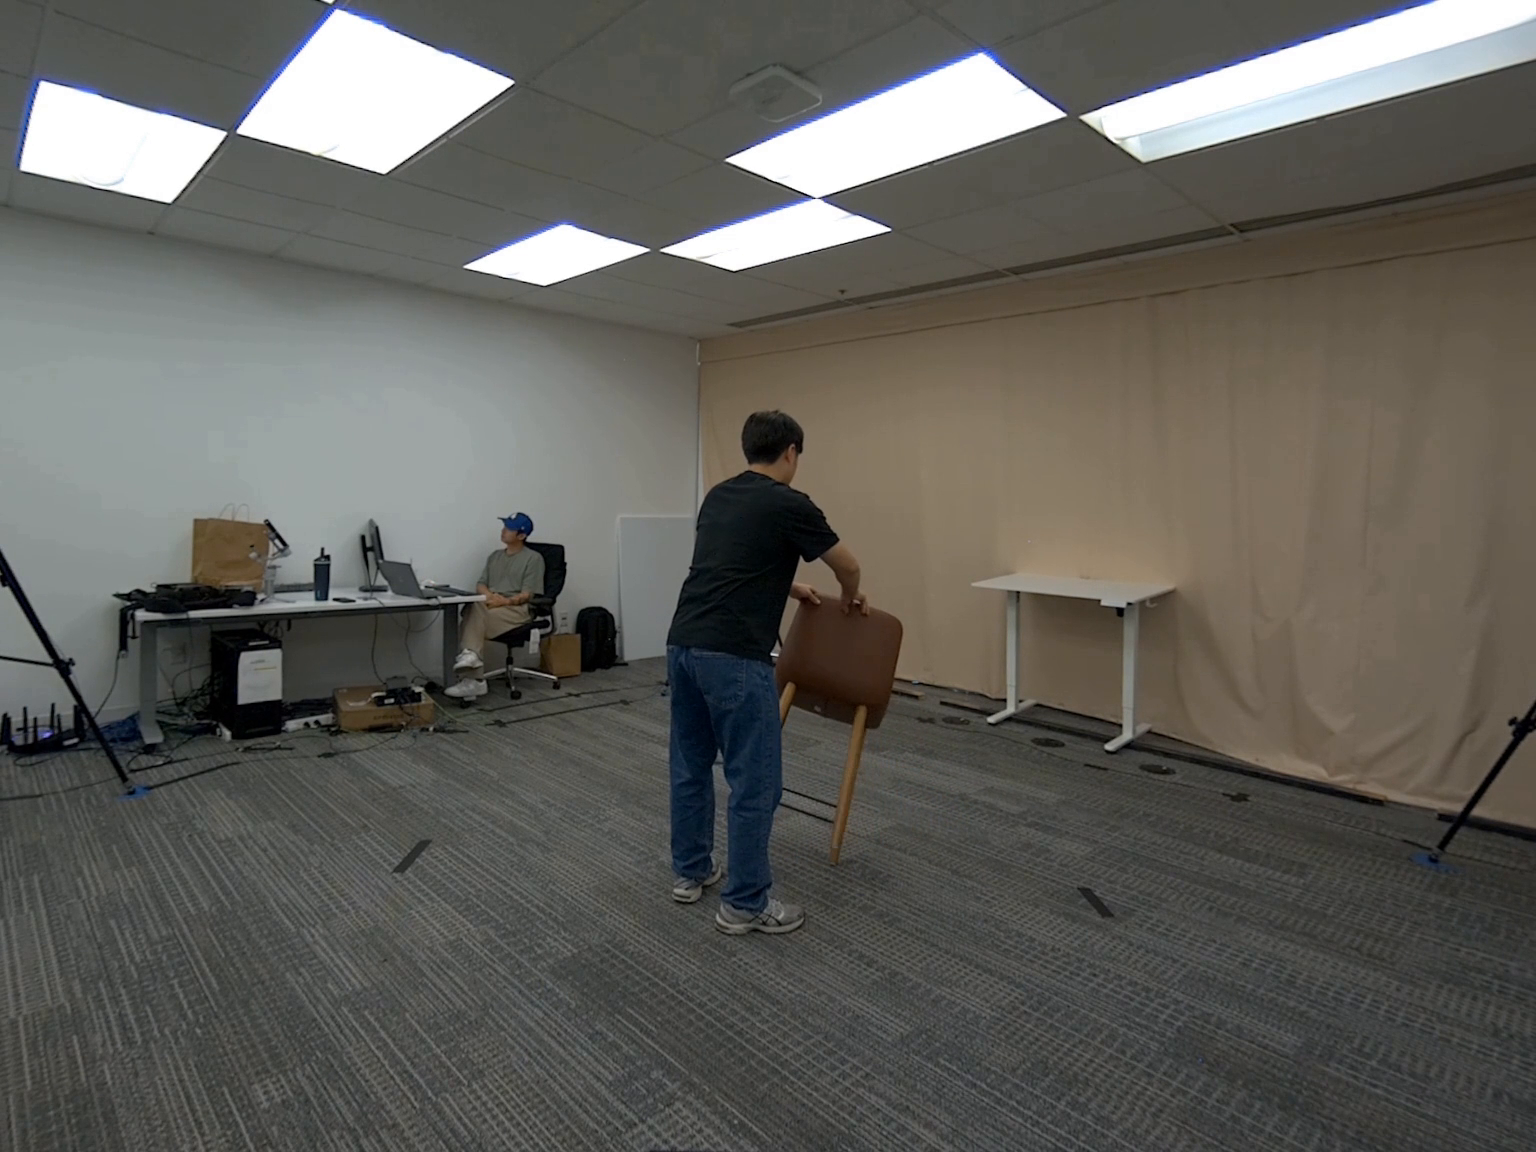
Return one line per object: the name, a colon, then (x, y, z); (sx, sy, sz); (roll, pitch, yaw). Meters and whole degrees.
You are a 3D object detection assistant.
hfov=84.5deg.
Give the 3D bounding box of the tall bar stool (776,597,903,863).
tall bar stool: (0.202, 0.583, 3.248); (0.461, 0.897, 0.459); (15, -22, 10)
